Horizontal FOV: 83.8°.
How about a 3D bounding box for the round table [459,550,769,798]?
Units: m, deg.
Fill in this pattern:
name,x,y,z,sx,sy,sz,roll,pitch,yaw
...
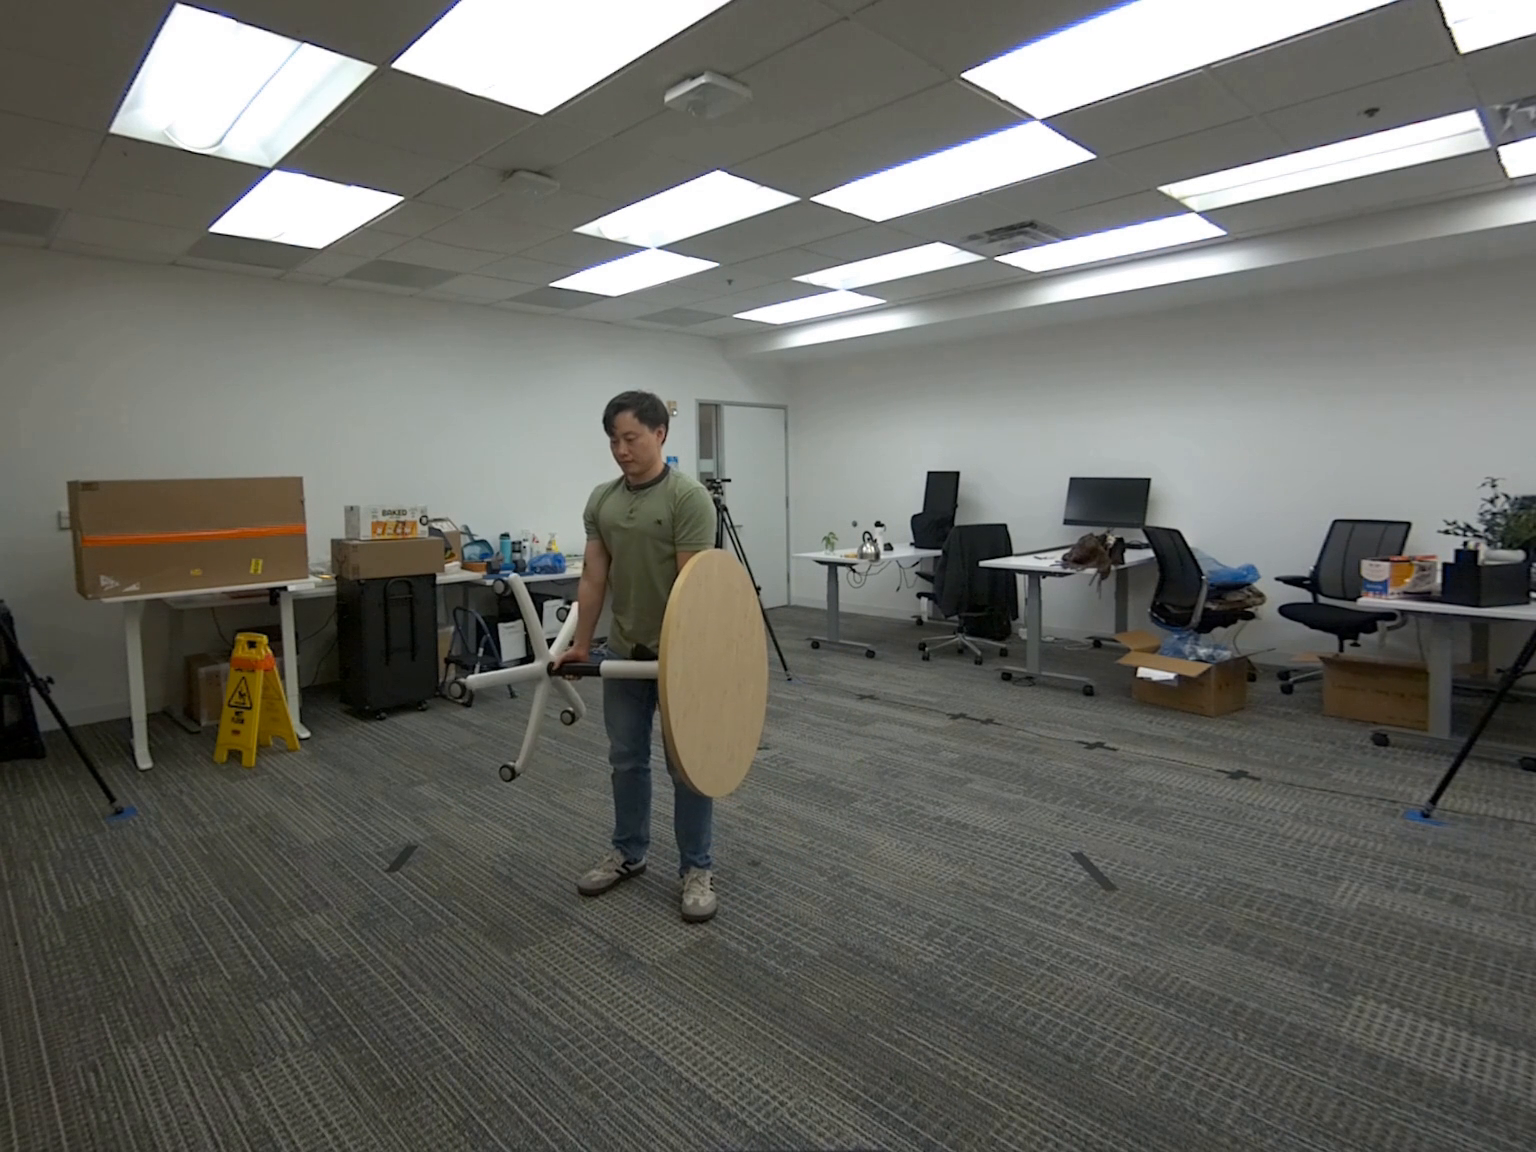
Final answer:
name,x,y,z,sx,sy,sz,roll,pitch,yaw
round table,-0.508,0.320,2.840,0.810,0.762,0.751,-3,4,22
